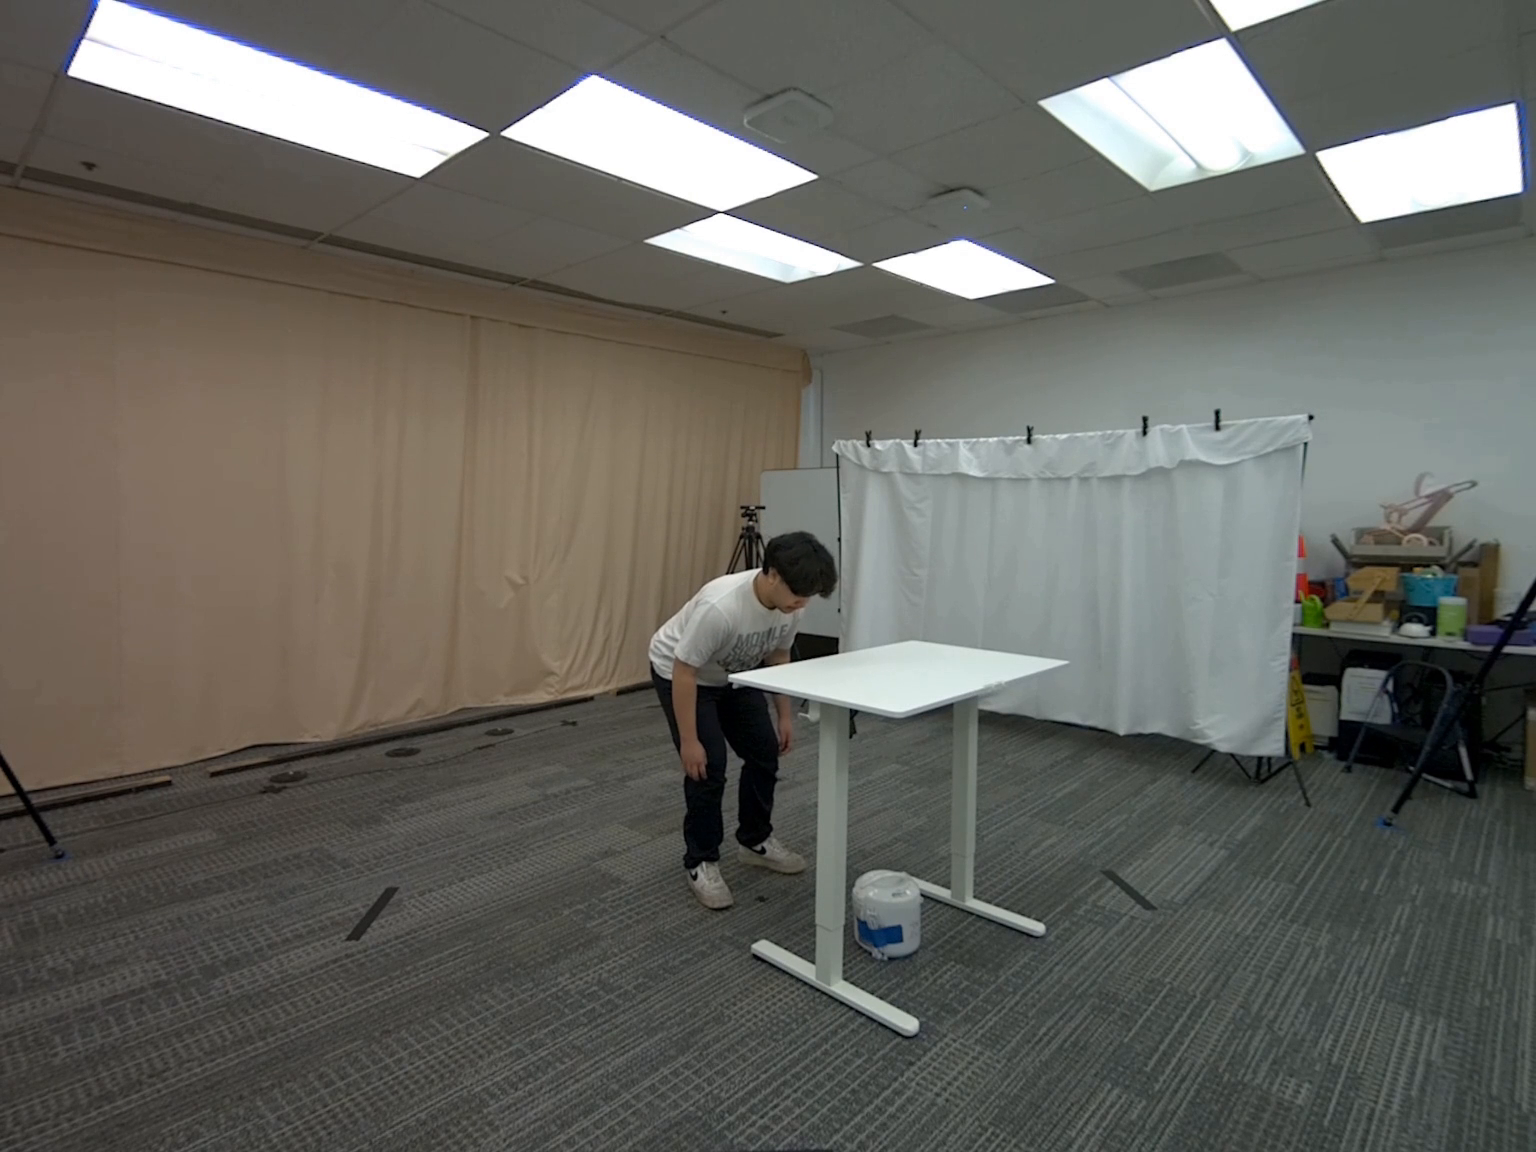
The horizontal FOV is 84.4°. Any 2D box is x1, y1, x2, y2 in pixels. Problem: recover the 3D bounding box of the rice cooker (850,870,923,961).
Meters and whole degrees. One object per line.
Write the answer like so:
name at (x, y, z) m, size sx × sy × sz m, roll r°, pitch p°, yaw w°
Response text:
rice cooker at (0.381, 1.053, 2.668) m, size 0.216 × 0.232 × 0.222 m, roll -1°, pitch 4°, yaw -18°
